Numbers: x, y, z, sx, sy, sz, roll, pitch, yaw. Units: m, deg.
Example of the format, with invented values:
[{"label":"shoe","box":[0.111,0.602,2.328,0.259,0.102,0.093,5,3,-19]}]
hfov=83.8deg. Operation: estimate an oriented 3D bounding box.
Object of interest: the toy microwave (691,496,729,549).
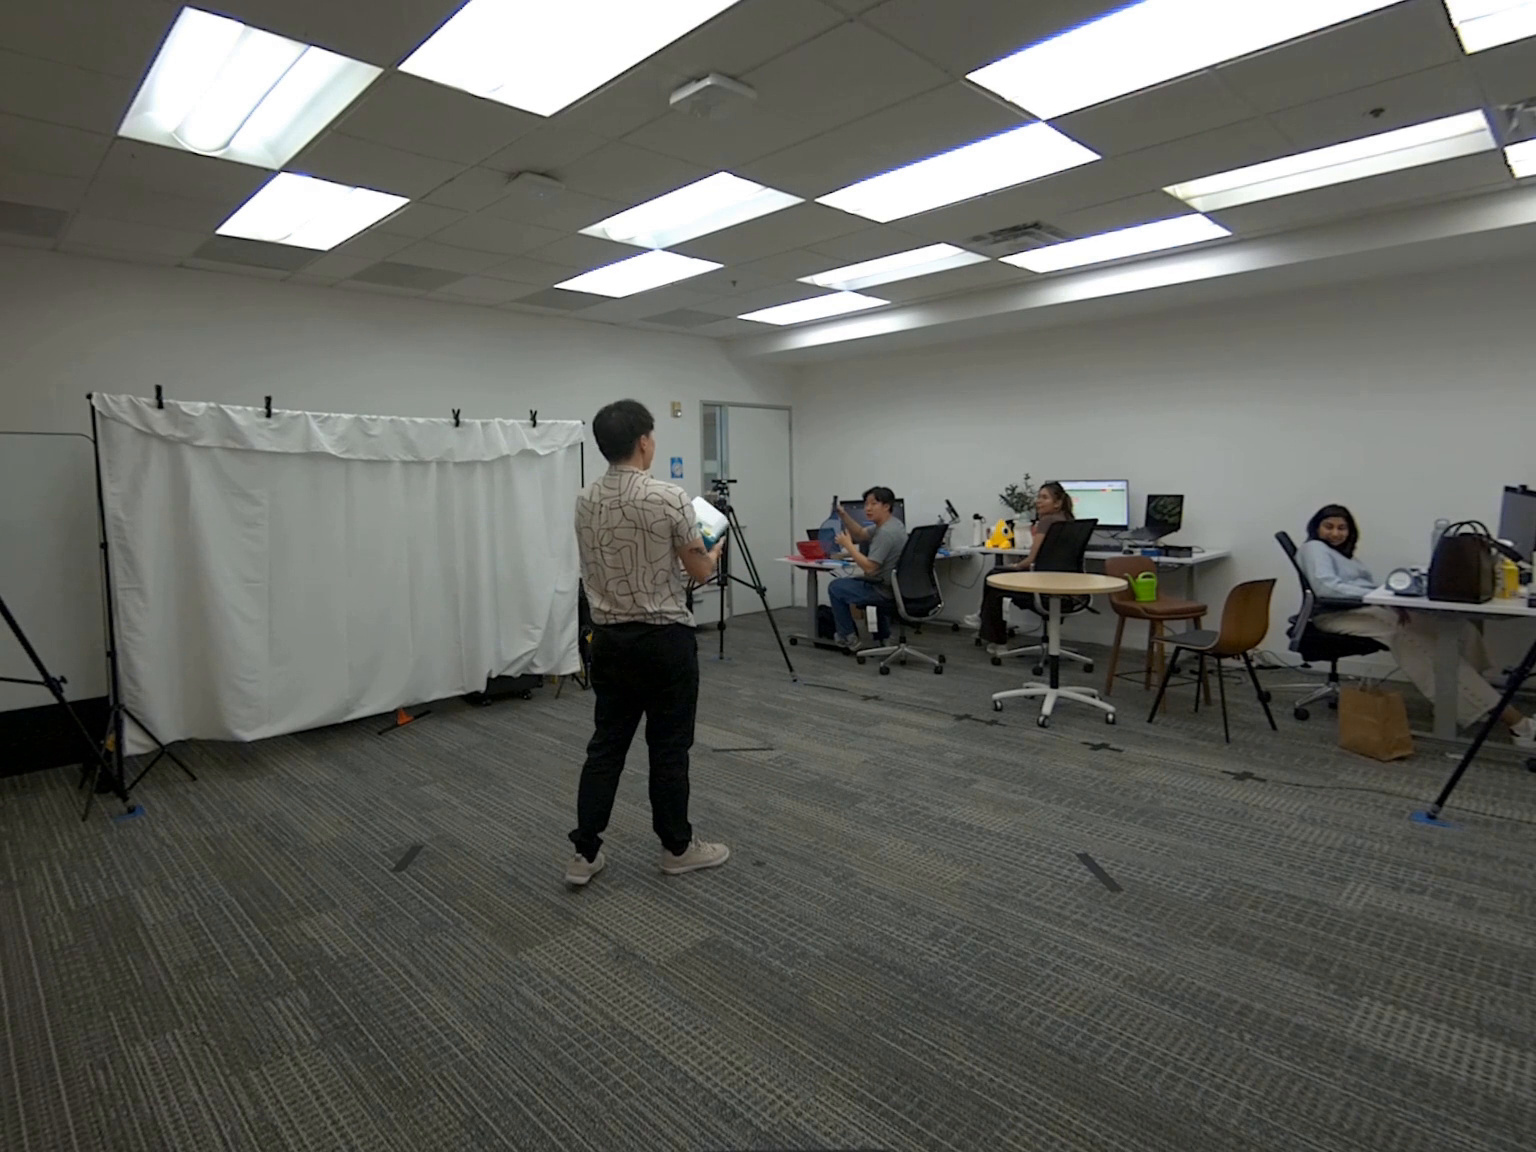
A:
[{"label":"toy microwave","box":[-0.273,-0.186,3.291,0.184,0.152,0.286,41,22,-2]}]
